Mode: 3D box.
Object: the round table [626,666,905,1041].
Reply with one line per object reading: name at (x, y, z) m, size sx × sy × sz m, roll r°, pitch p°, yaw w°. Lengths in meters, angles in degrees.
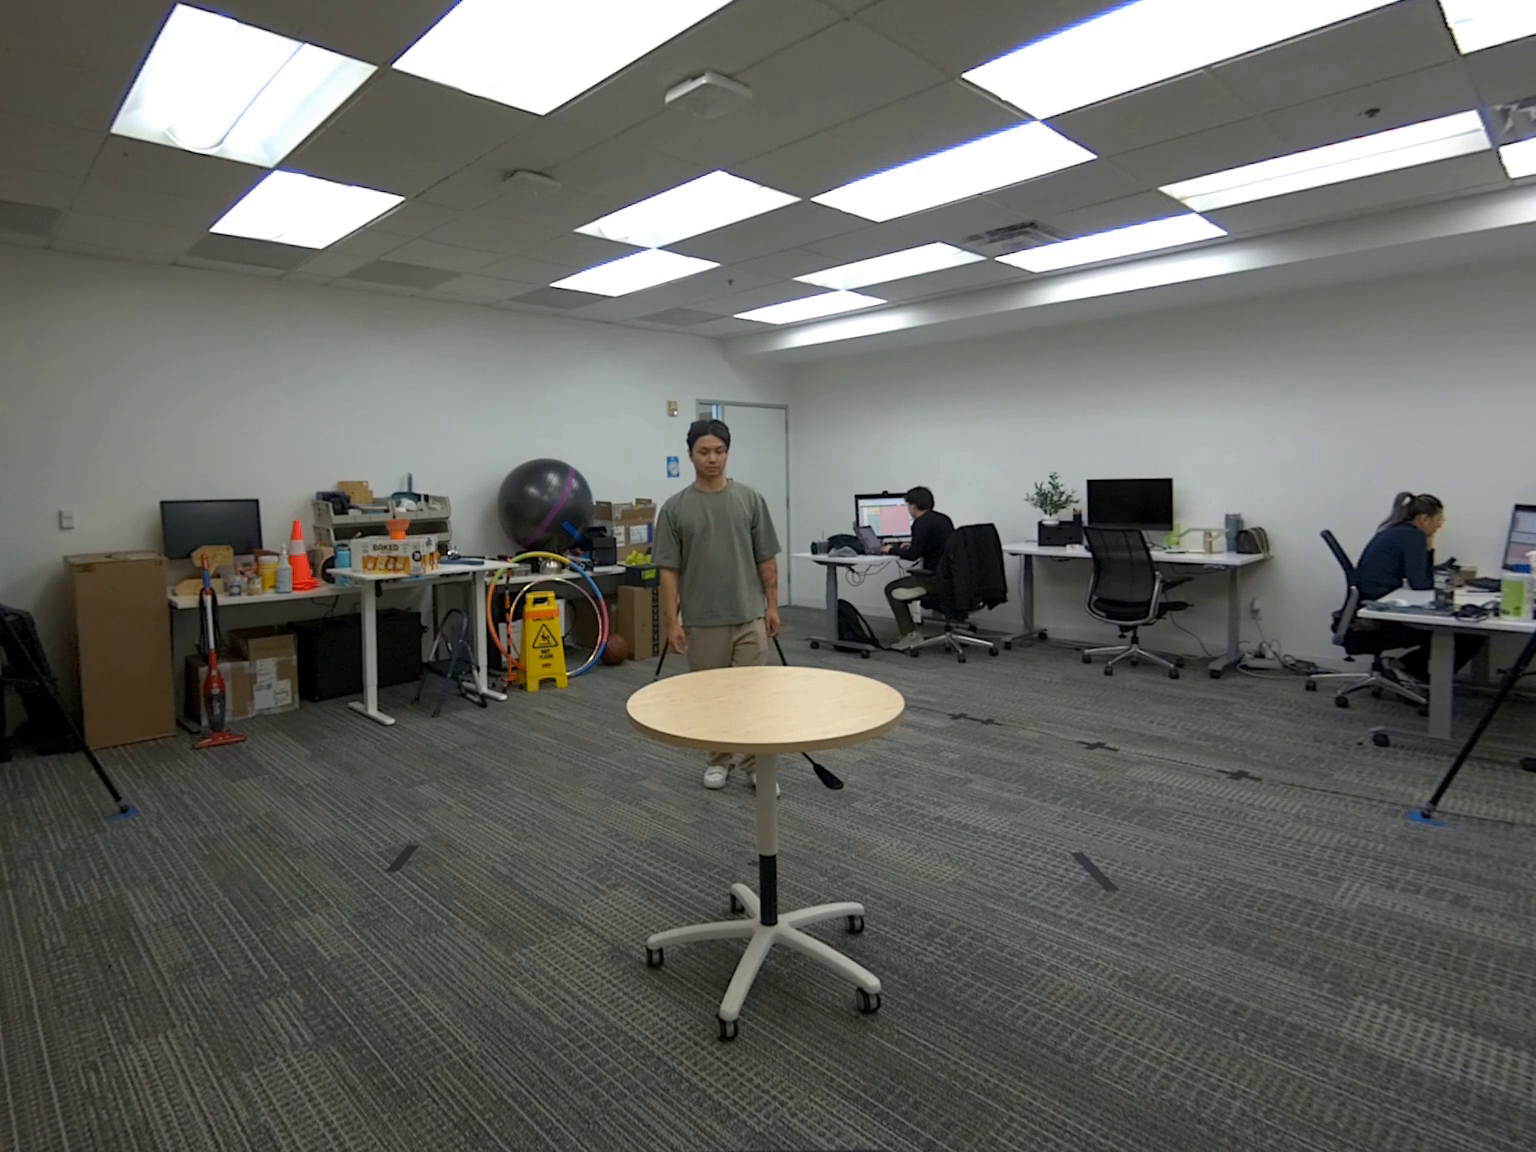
round table at (-0.015, 0.735, 2.415) m, size 0.784 × 0.783 × 0.789 m, roll -1°, pitch 6°, yaw -2°
